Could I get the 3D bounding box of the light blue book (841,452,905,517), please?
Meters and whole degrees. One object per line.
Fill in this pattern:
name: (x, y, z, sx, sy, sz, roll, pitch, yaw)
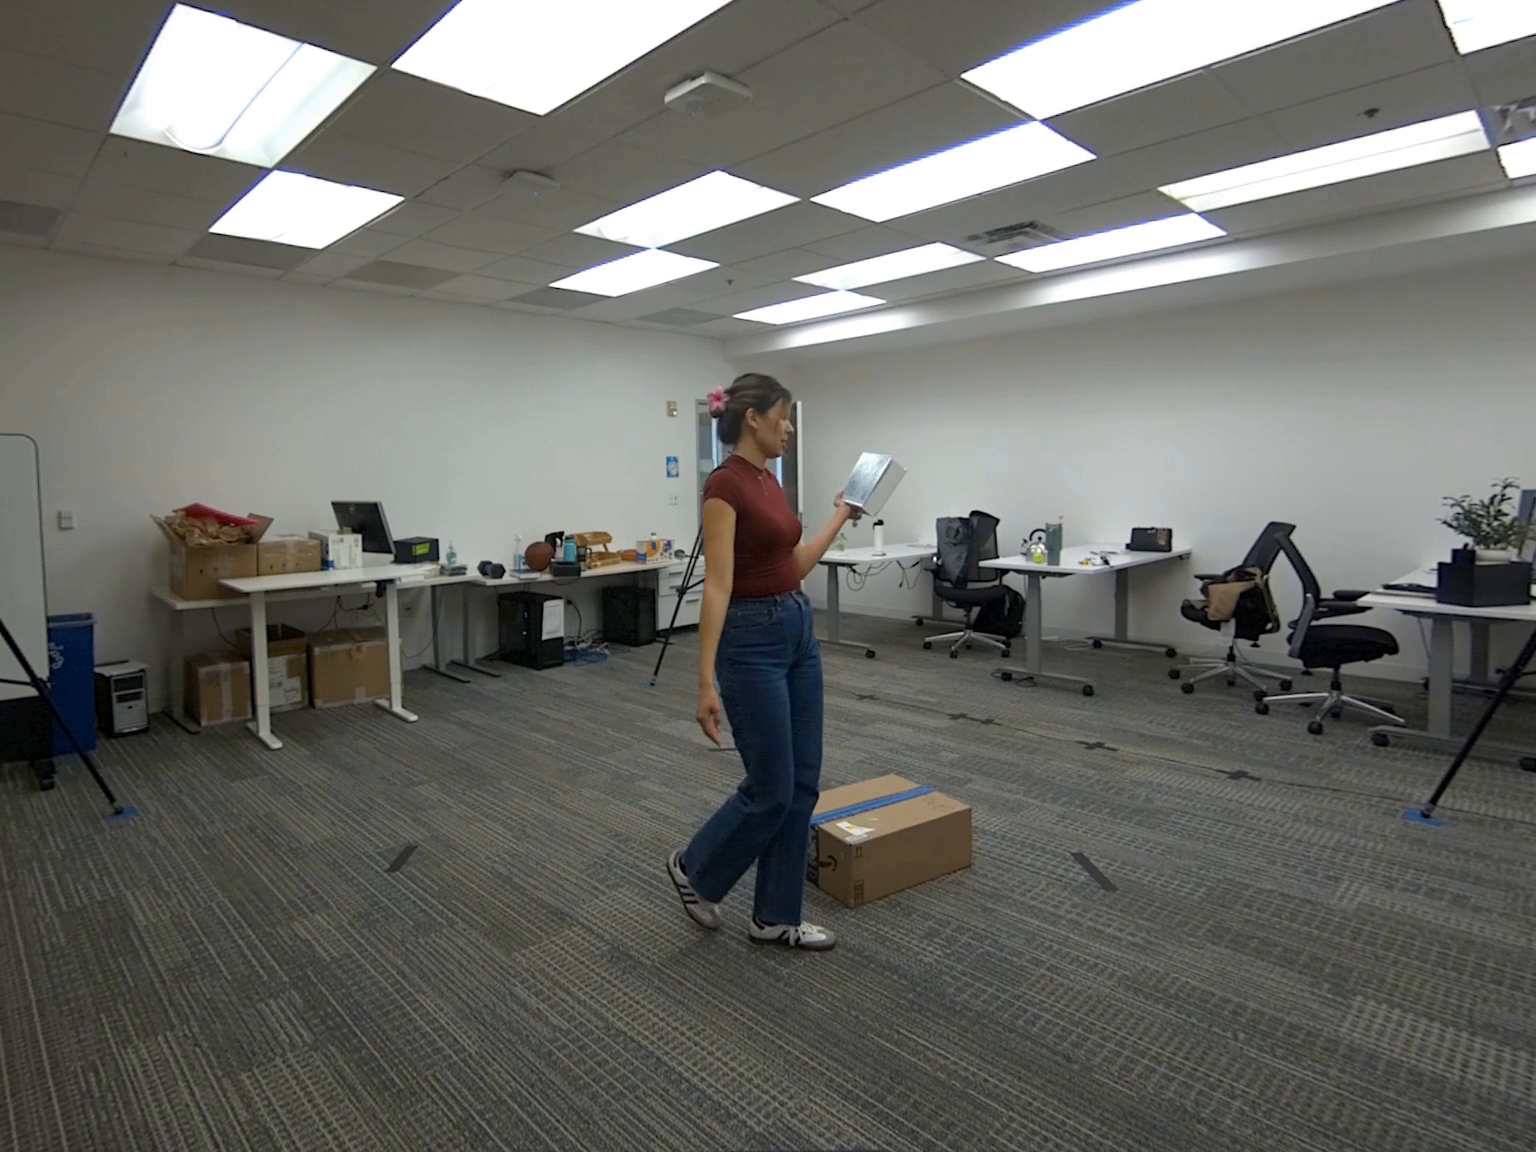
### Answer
light blue book: (0.331, -0.302, 2.809, 0.058, 0.191, 0.266, 31, 3, -15)
